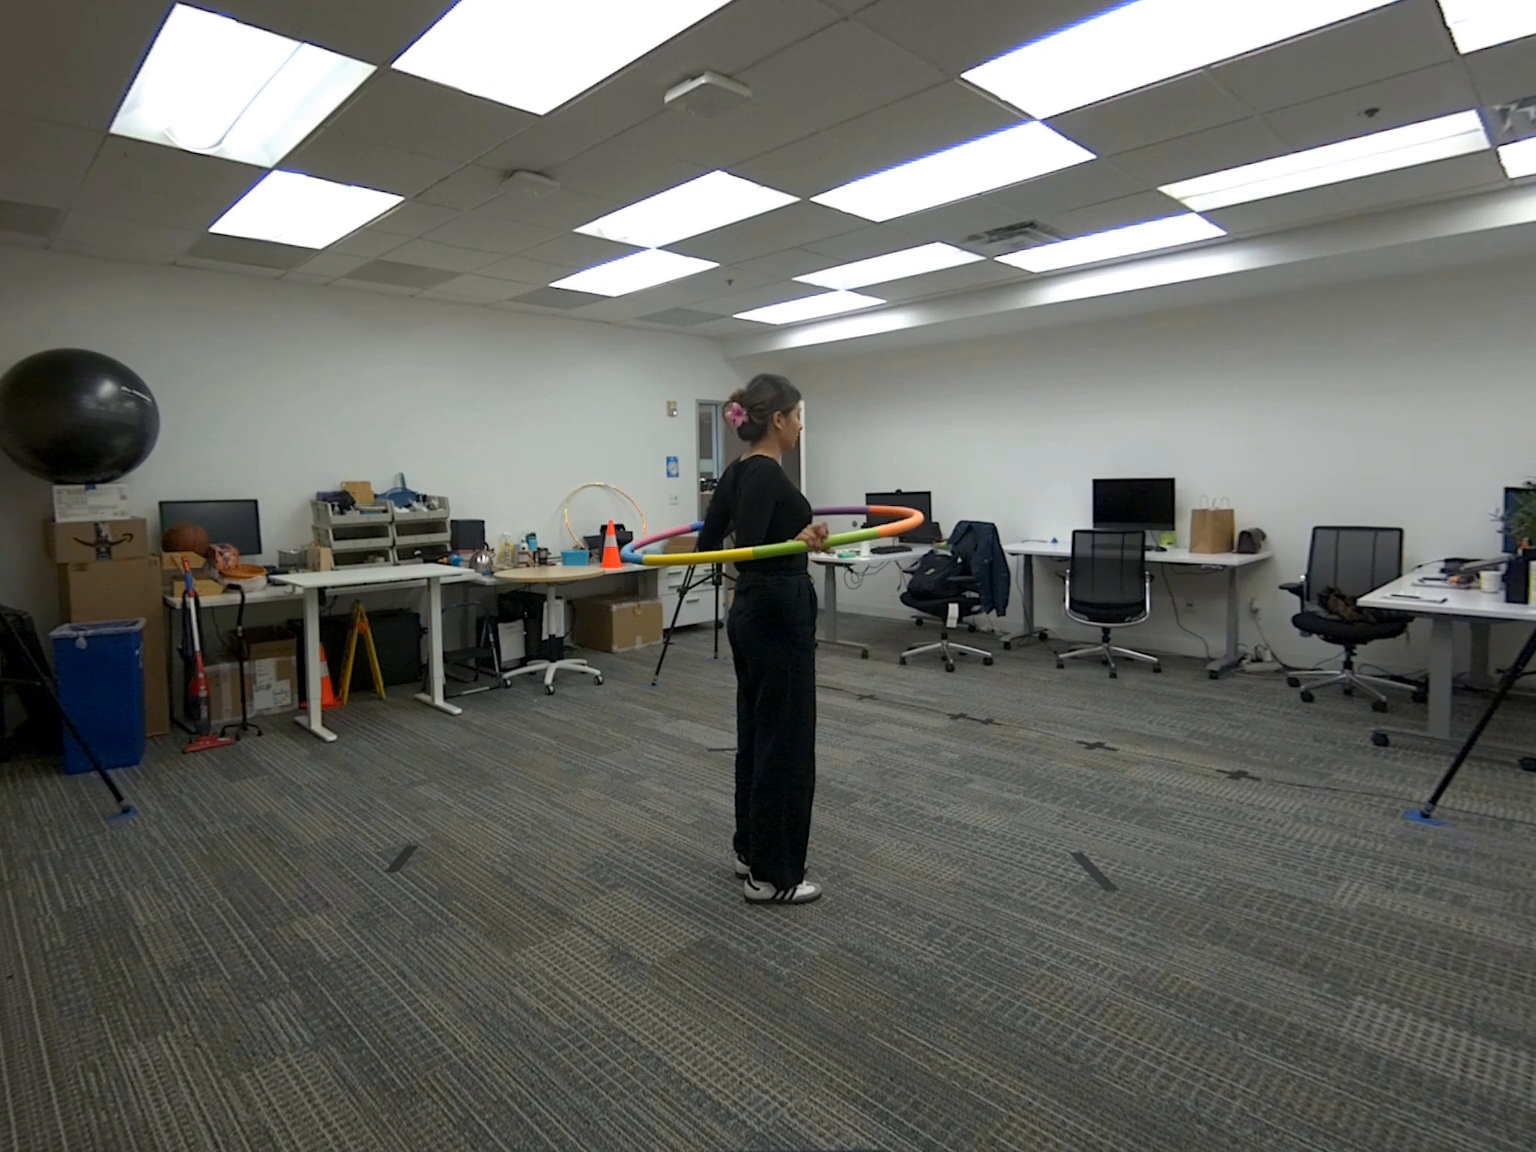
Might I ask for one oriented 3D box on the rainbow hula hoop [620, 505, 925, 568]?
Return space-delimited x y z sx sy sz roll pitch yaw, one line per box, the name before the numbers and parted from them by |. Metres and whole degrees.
rainbow hula hoop | -0.004 -0.141 2.829 0.979 0.035 0.987 -7 10 -1
